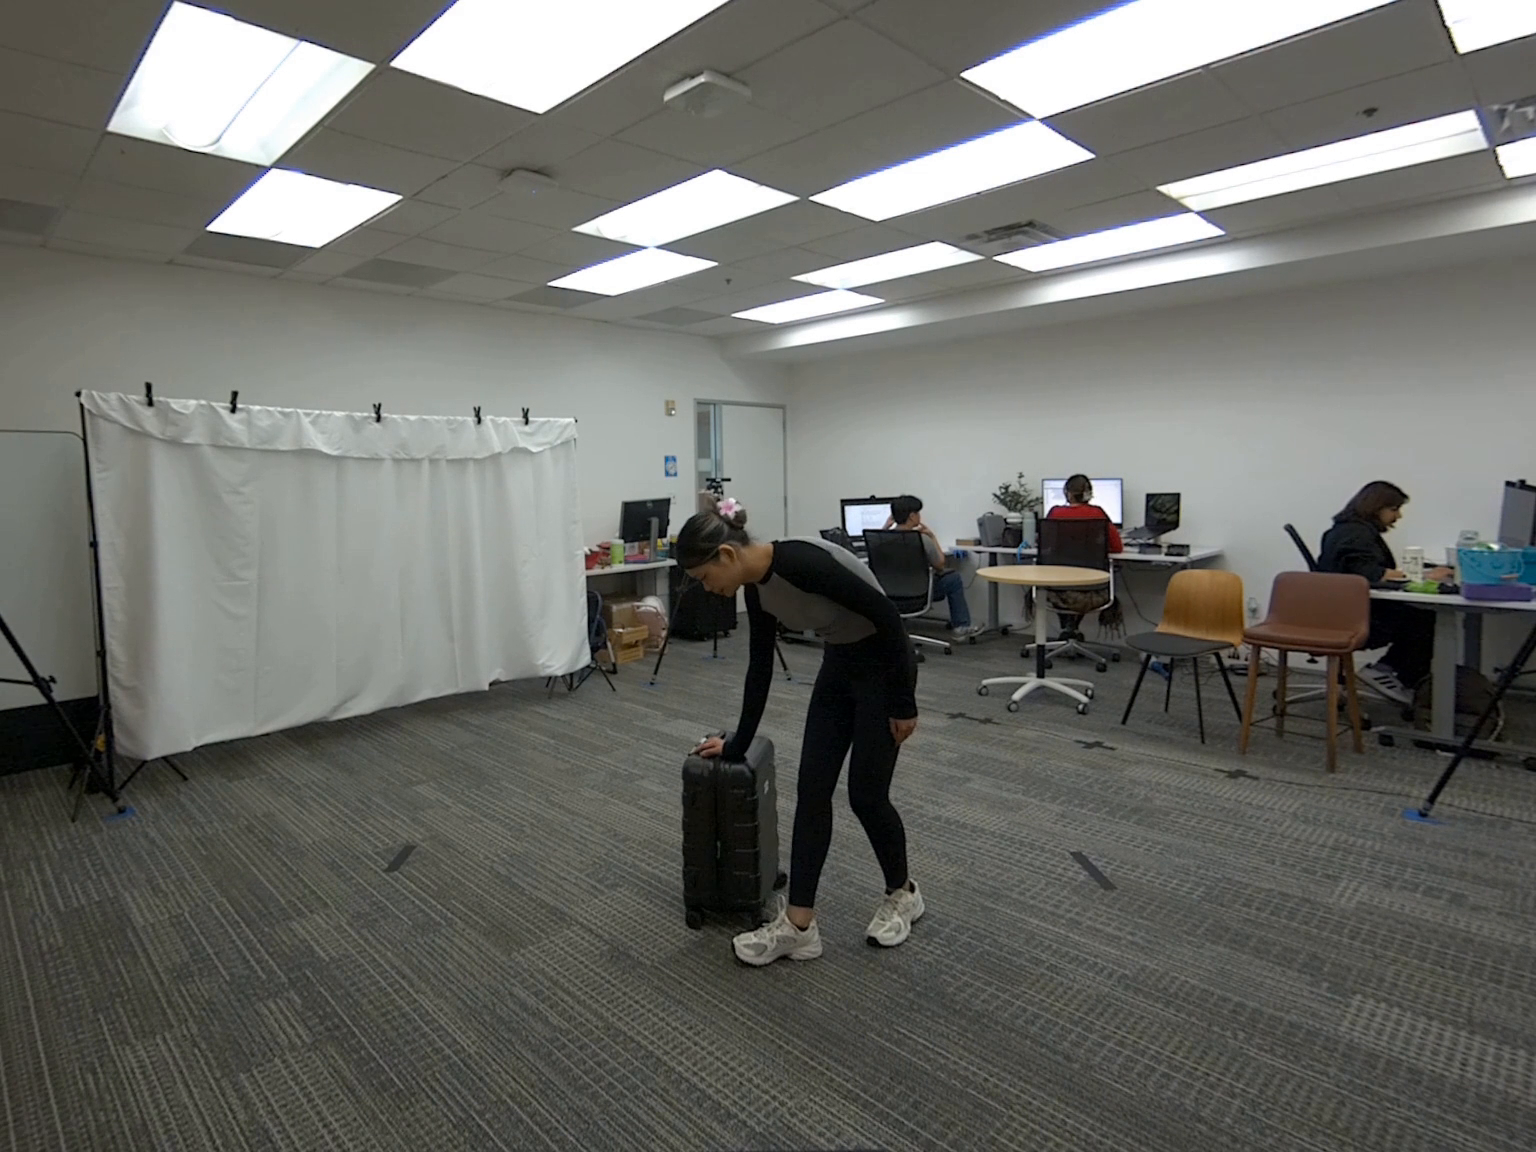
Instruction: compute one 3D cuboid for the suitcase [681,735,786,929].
[{"bbox_3d":[-0.116,0.804,2.785,0.251,0.547,0.372,0,5,12],"label":"suitcase"}]
